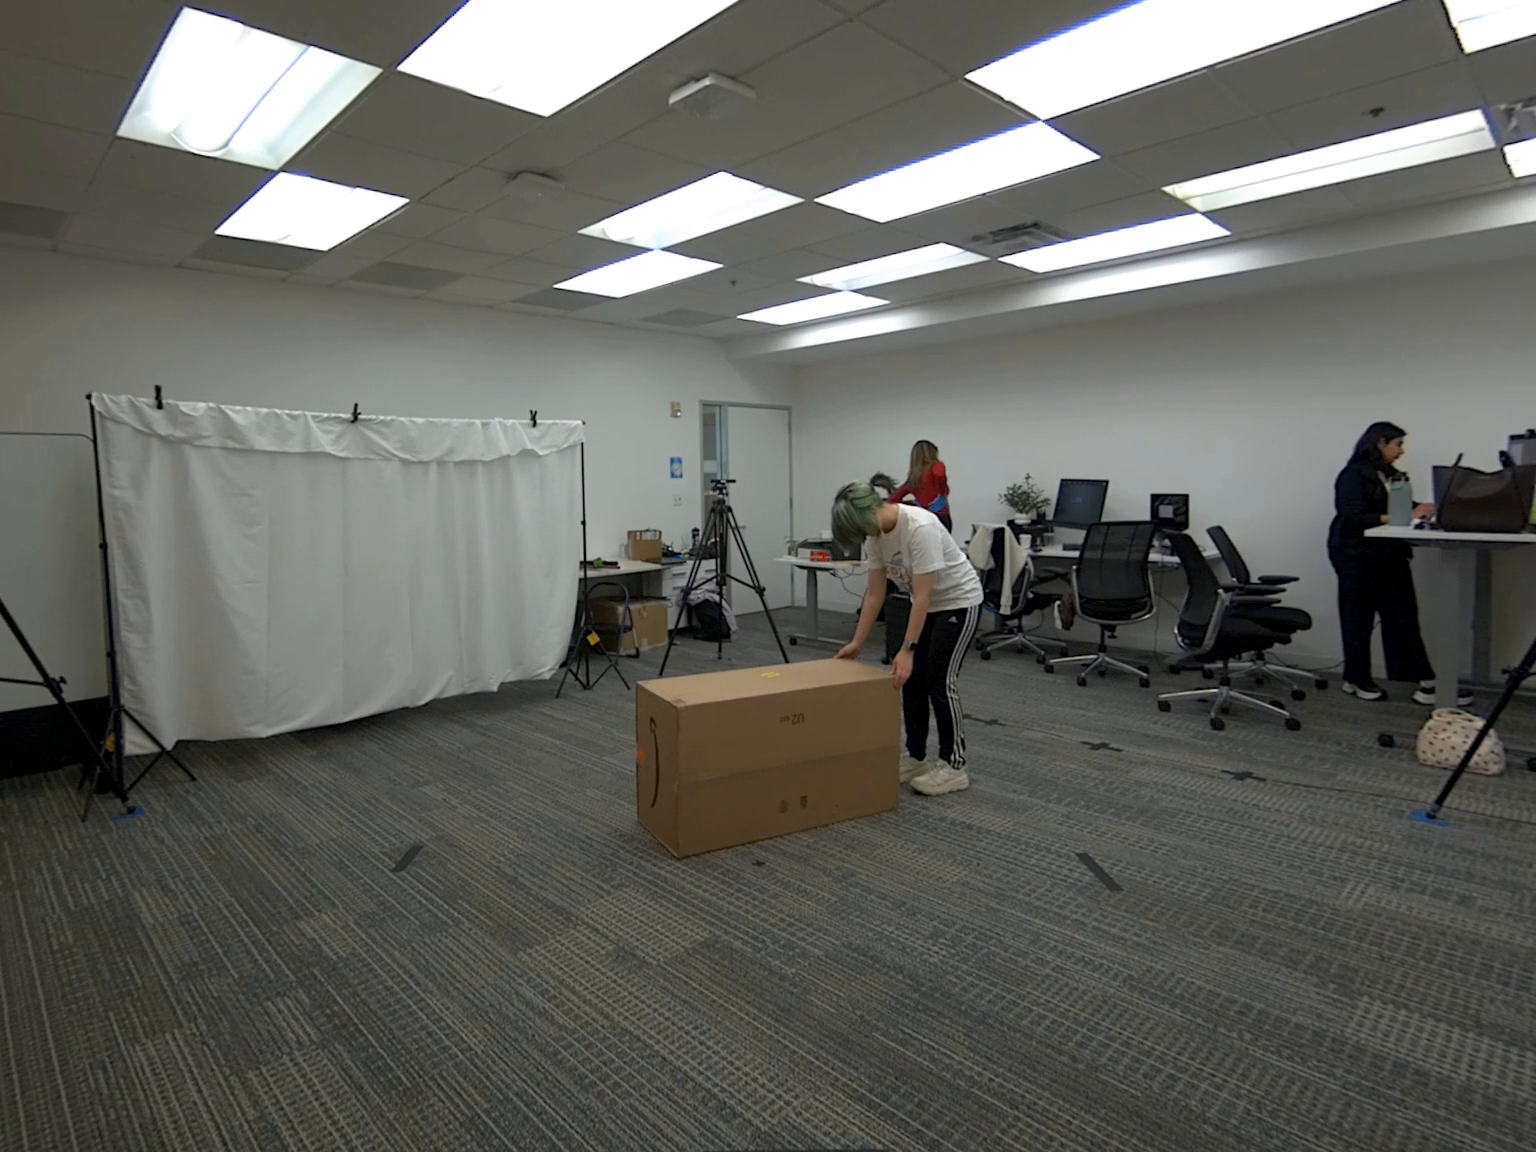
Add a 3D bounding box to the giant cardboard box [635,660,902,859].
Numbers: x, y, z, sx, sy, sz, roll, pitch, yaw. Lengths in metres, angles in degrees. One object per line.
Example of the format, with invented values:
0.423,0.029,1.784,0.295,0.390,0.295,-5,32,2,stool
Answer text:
0.005,0.708,3.545,1.004,0.582,0.458,-3,4,-28,giant cardboard box
